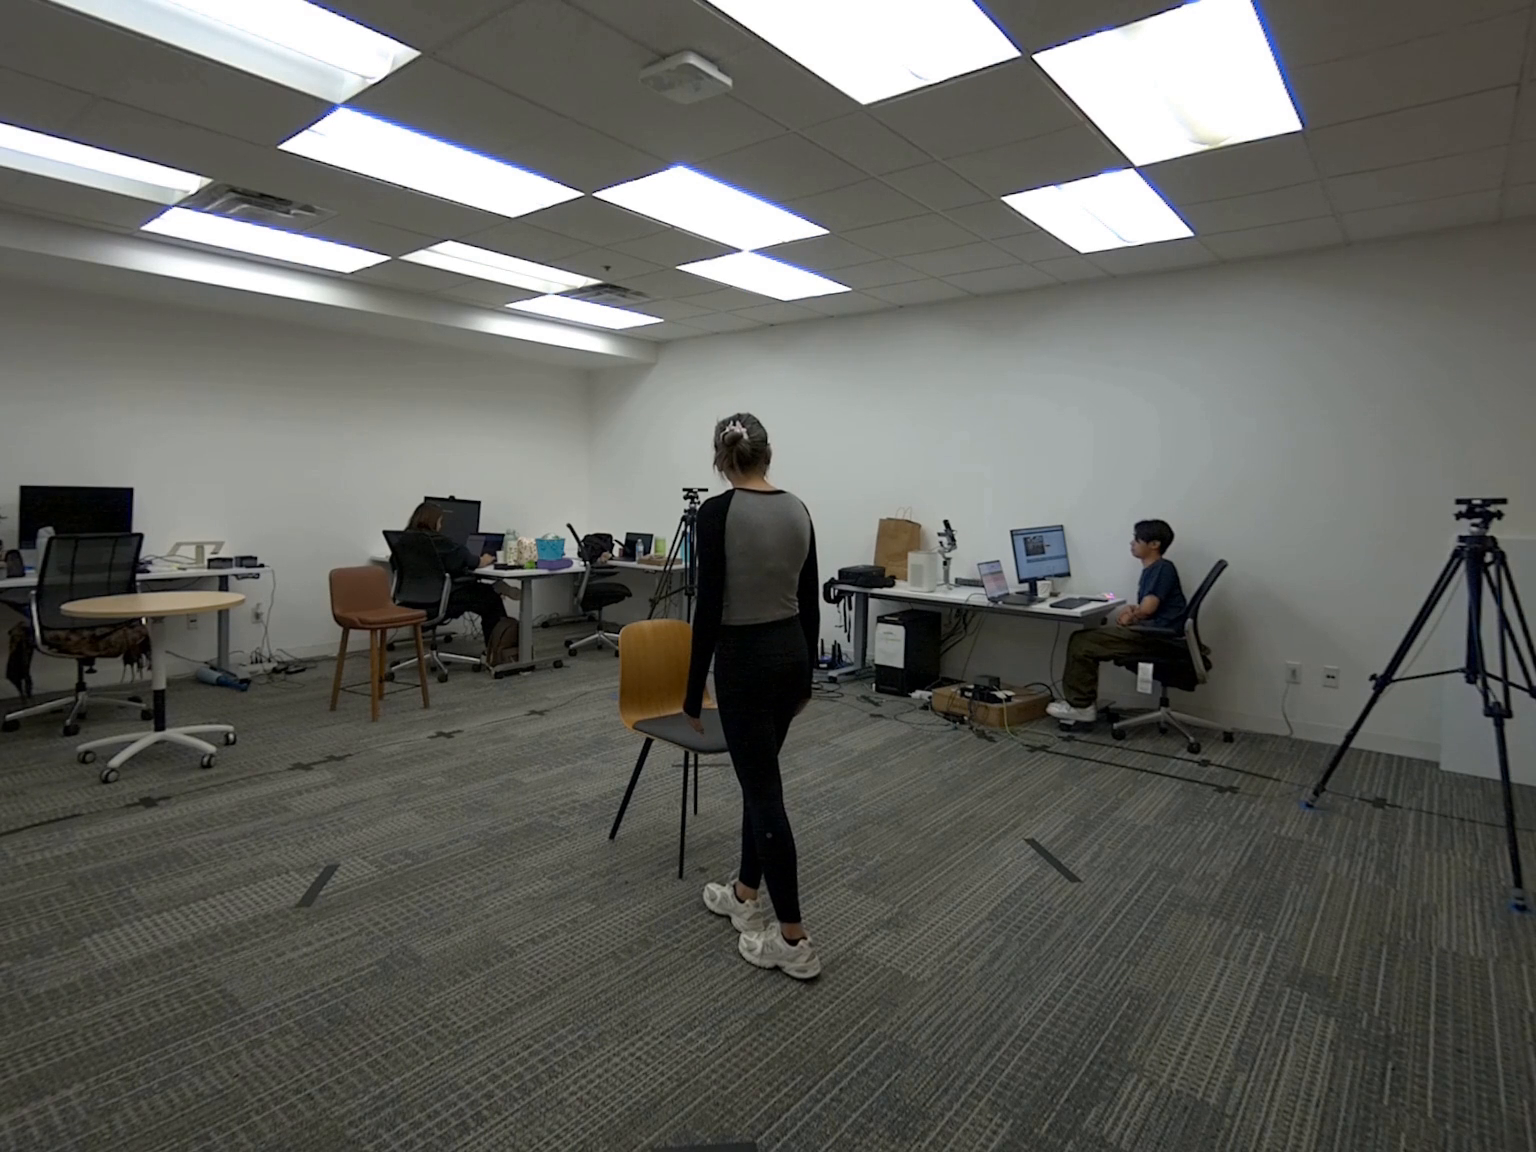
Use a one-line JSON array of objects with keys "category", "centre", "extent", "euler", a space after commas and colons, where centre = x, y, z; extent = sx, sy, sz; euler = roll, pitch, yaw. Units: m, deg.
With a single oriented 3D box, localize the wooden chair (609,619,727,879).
[{"category": "wooden chair", "centre": [-0.304, 0.622, 3.311], "extent": [0.463, 0.878, 0.539], "euler": [-1, 0, -44]}]
